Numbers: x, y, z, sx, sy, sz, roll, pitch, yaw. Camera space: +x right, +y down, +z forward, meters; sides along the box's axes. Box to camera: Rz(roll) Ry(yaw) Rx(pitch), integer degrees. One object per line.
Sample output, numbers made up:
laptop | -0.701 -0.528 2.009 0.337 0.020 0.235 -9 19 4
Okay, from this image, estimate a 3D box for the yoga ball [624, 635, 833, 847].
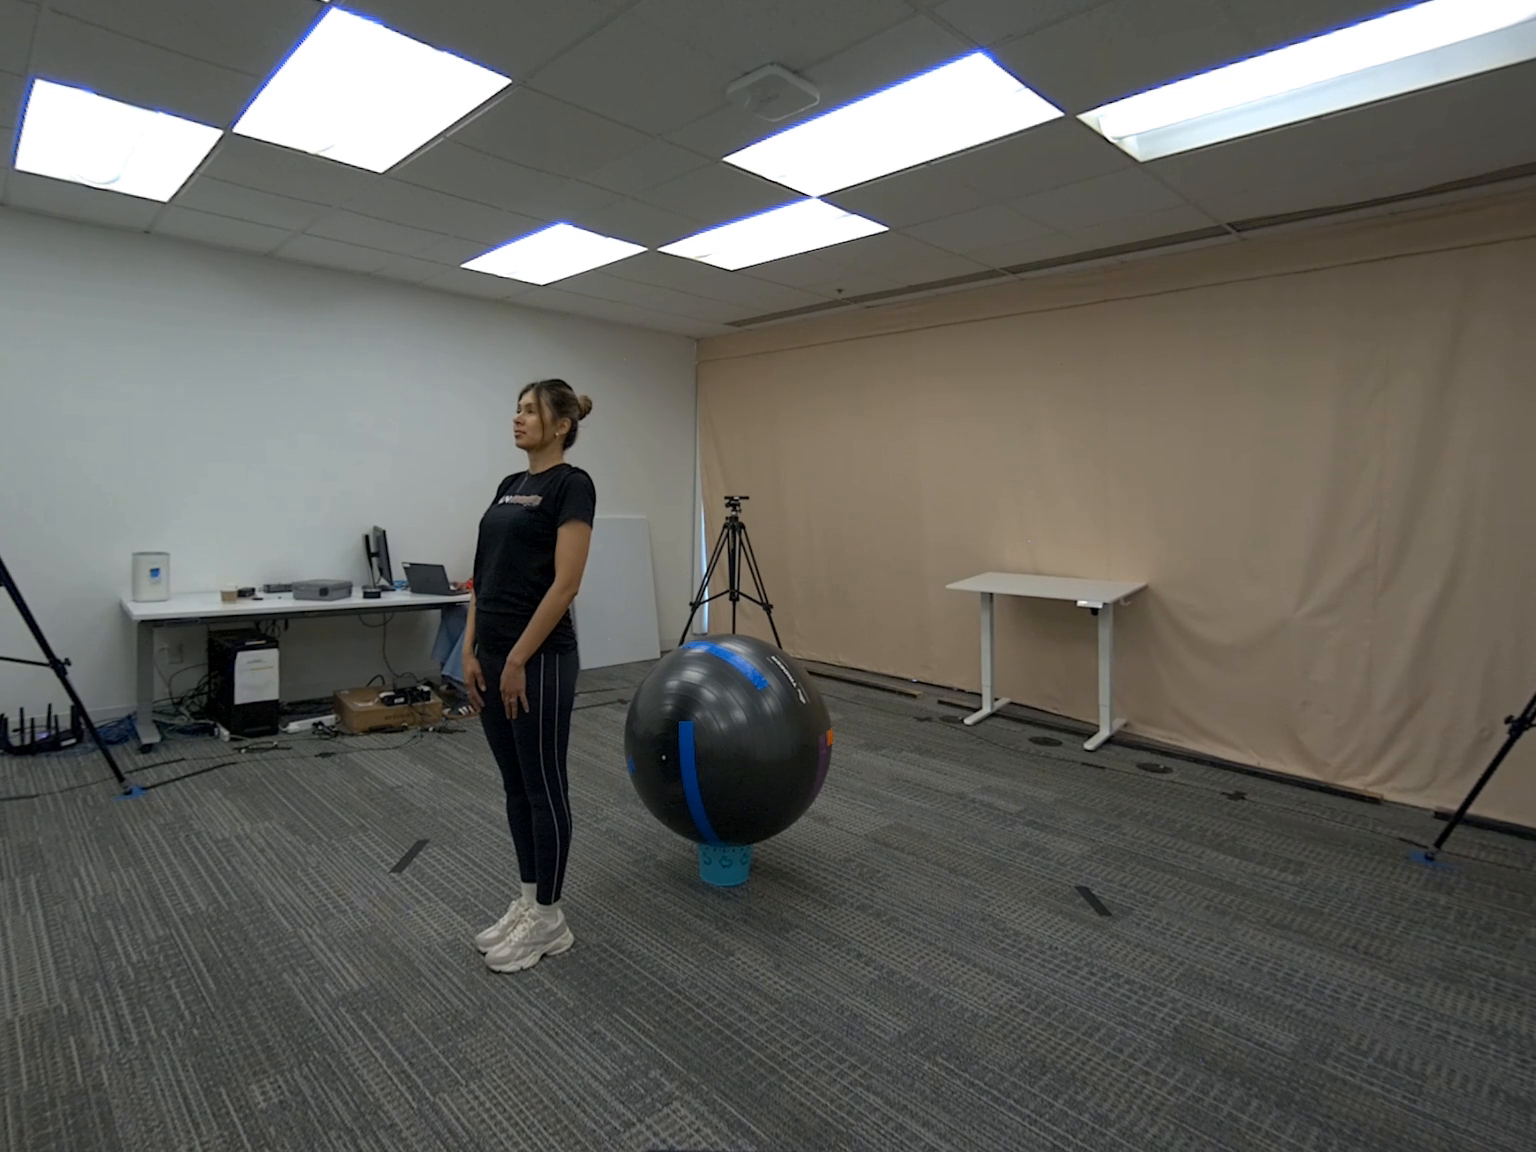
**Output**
yoga ball | -0.149 0.592 3.078 0.757 0.756 0.761 1 4 -1
